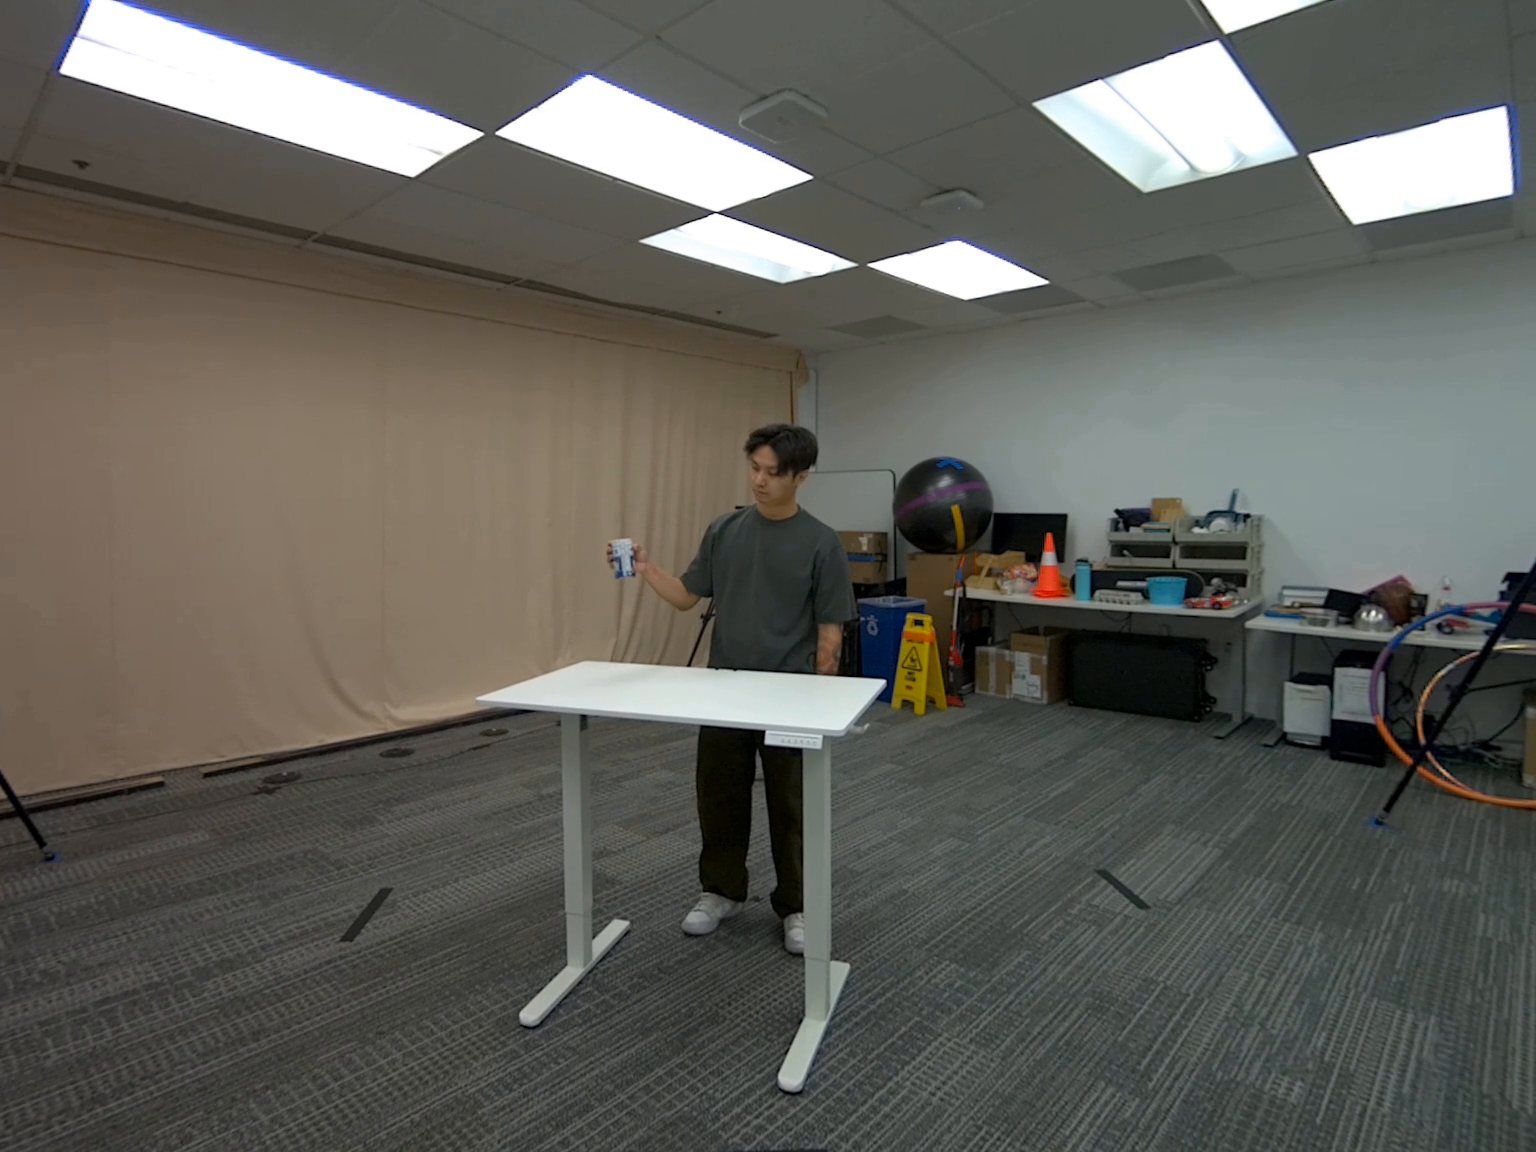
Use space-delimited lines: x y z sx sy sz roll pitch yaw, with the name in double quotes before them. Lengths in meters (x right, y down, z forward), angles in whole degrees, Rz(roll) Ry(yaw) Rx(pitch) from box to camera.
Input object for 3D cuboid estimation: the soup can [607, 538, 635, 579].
"soup can" -0.444 -0.050 2.621 0.067 0.121 0.067 -7 -1 -2
